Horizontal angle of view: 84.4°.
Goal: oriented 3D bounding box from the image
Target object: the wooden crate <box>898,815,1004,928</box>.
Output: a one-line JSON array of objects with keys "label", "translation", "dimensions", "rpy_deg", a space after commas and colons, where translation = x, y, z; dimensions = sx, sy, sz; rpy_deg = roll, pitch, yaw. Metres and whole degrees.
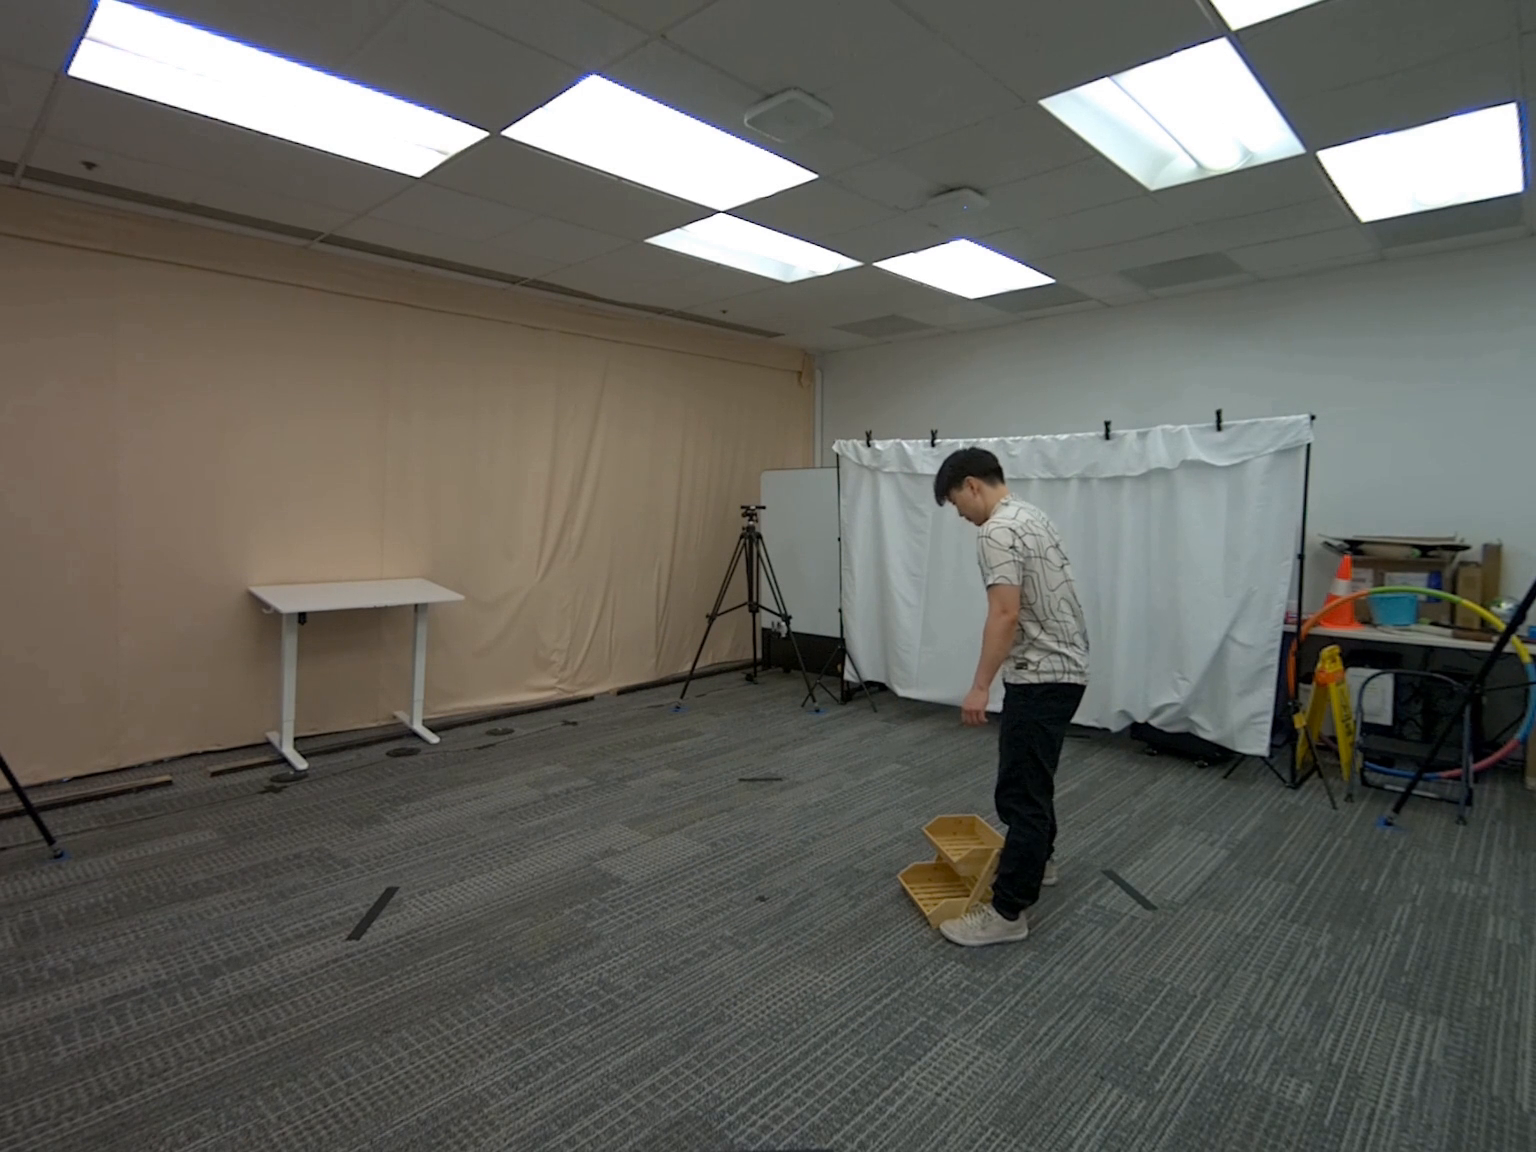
[{"label": "wooden crate", "translation": [0.641, 1.015, 2.925], "dimensions": [0.299, 0.273, 0.328], "rpy_deg": [0, 4, -9]}]
